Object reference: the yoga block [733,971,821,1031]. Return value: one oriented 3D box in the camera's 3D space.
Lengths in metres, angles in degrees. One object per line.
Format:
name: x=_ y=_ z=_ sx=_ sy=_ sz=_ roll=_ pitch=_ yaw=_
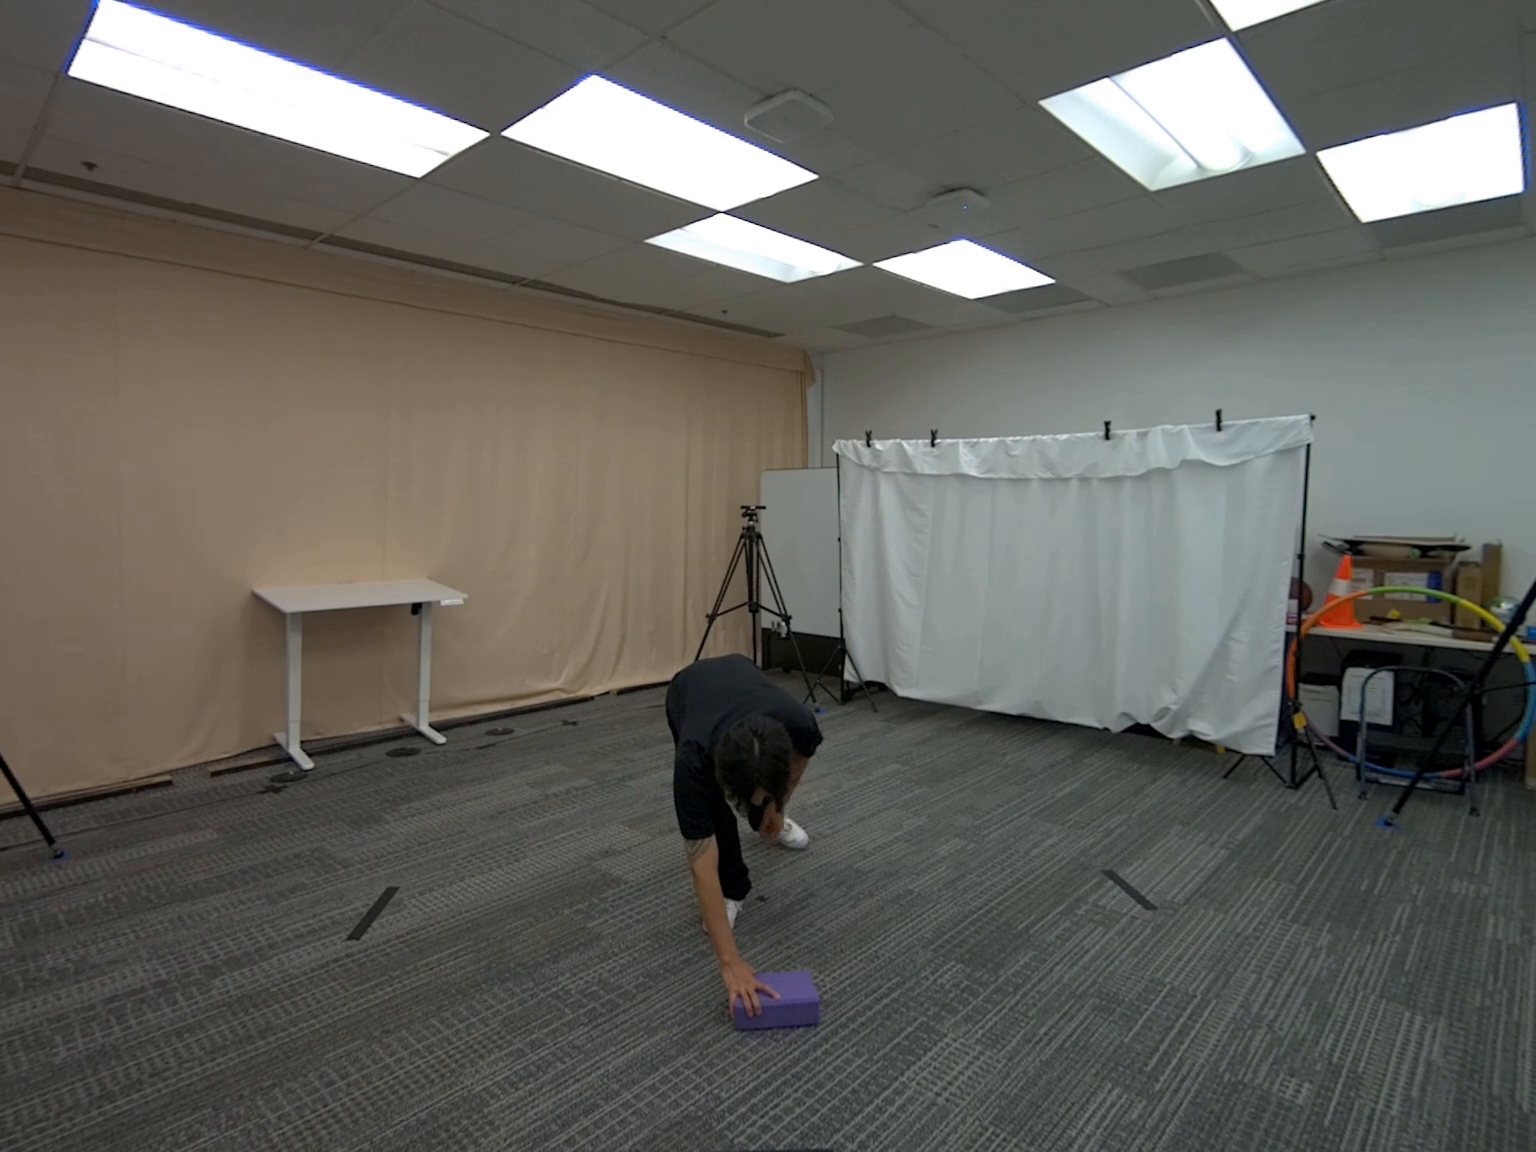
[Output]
yoga block: x=0.019 y=1.158 z=2.308 sx=0.228 sy=0.076 sz=0.150 roll=-1 pitch=6 yaw=-5
